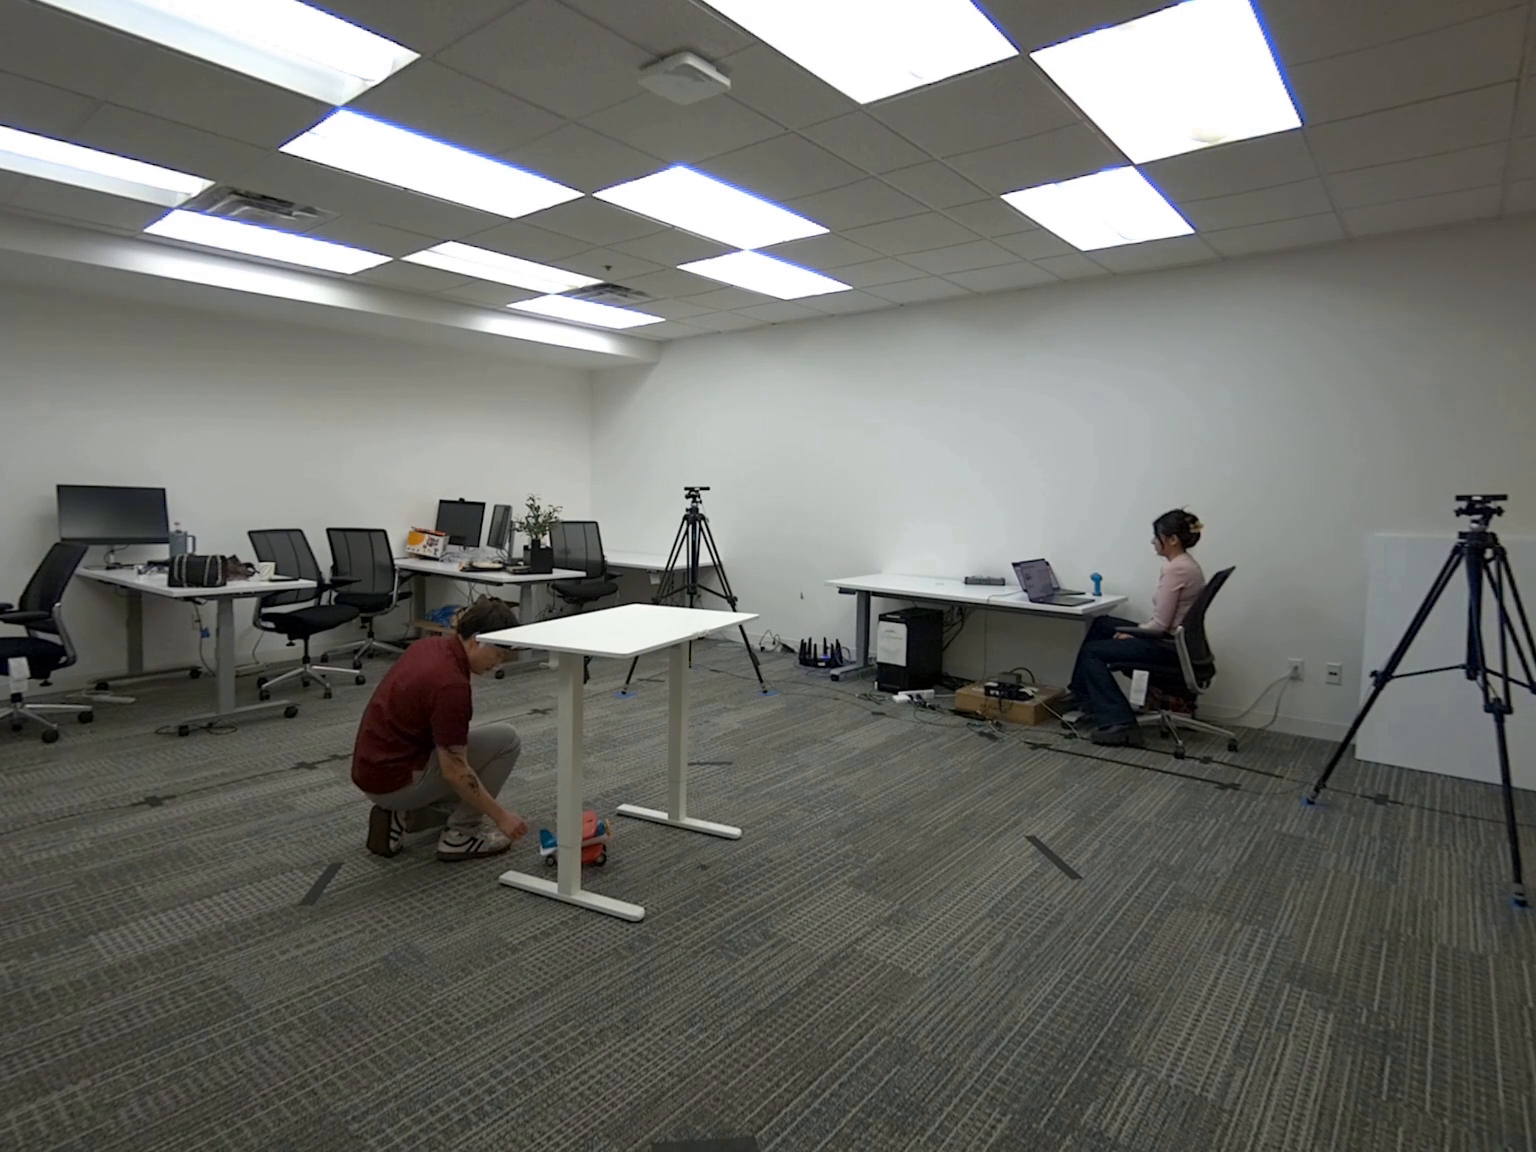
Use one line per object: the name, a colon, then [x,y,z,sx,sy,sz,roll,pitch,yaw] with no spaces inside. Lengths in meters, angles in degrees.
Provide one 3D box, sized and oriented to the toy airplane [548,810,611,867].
toy airplane: [-0.721,0.984,3.125,0.251,0.156,0.259,-1,4,-38]
